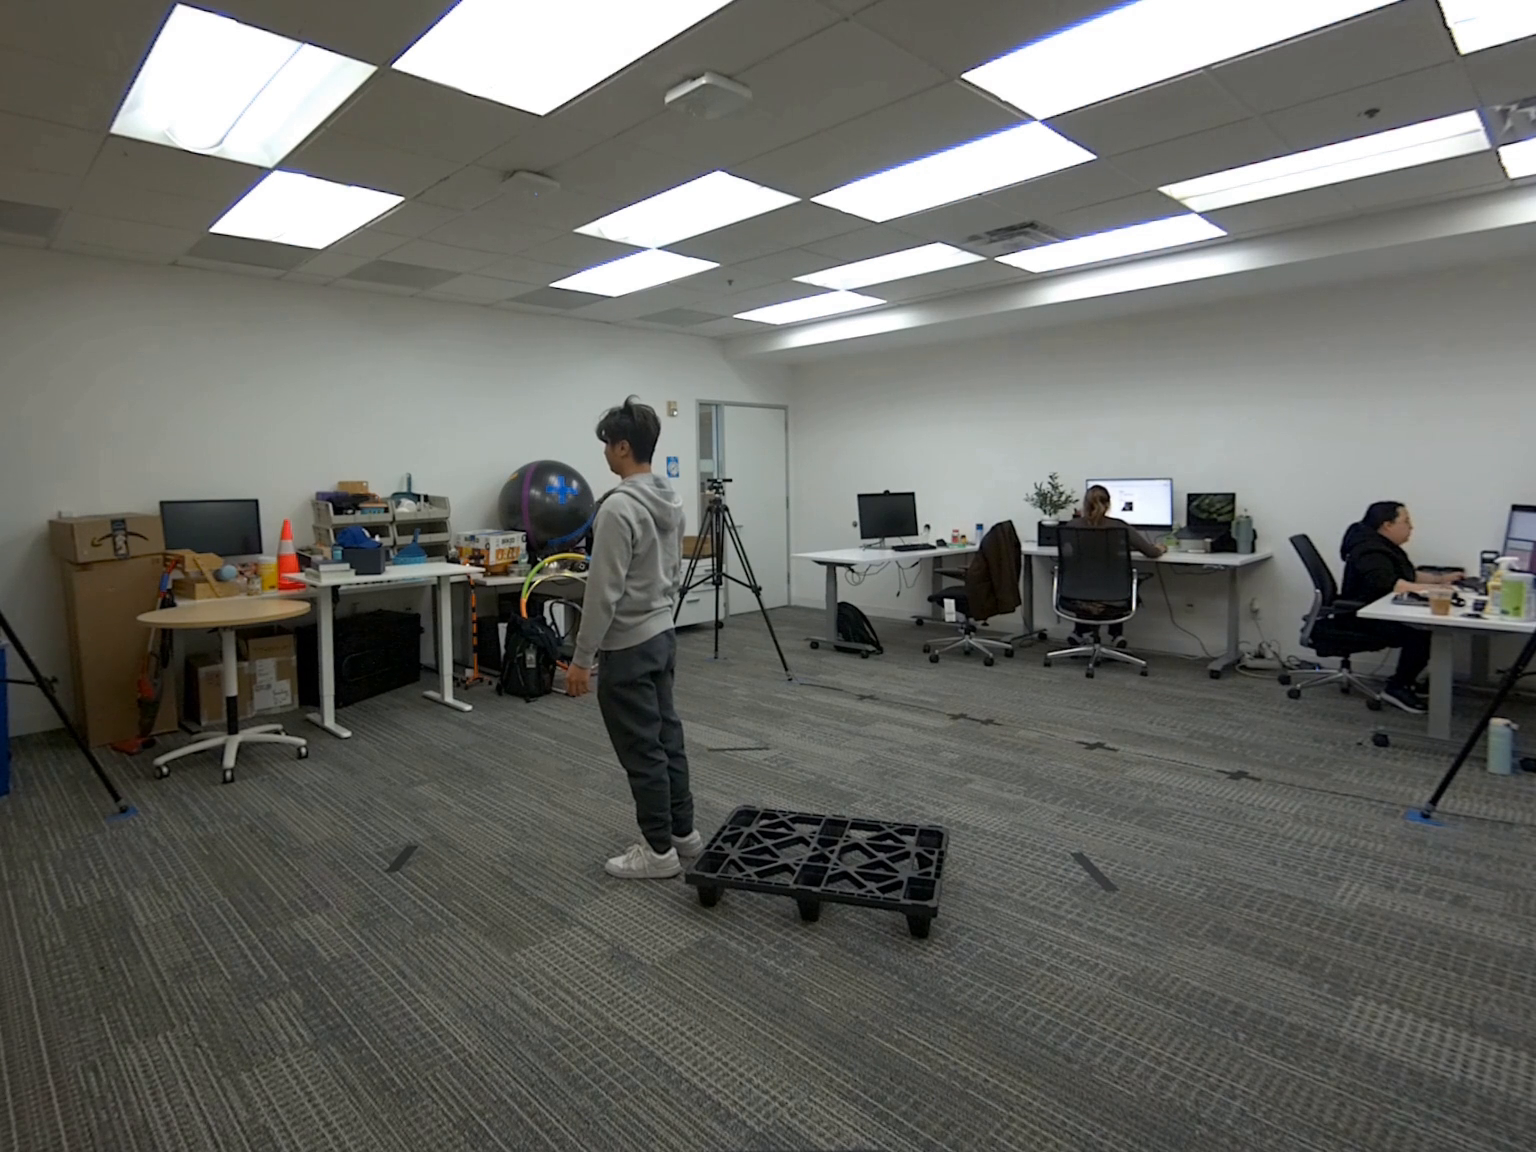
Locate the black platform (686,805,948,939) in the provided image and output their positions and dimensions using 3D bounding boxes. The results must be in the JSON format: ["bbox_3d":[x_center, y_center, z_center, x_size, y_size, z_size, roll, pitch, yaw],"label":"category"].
[{"bbox_3d":[0.189,0.996,2.917,0.819,0.143,0.597,1,6,17],"label":"black platform"}]
